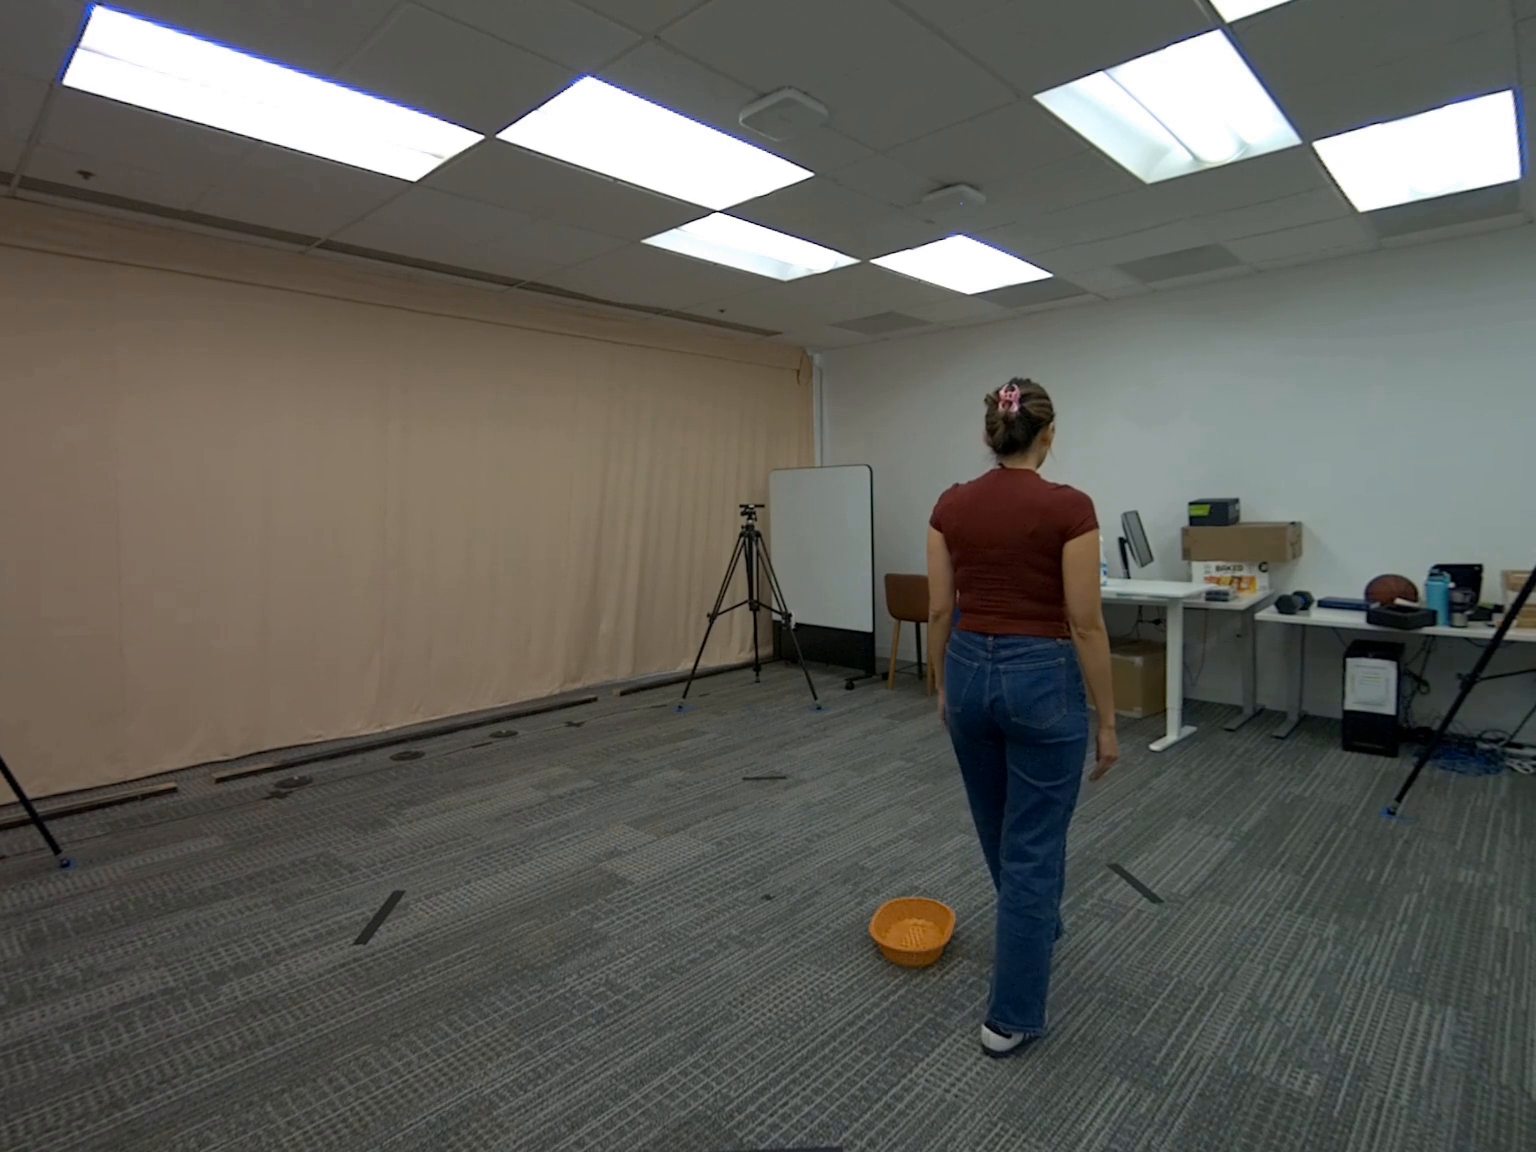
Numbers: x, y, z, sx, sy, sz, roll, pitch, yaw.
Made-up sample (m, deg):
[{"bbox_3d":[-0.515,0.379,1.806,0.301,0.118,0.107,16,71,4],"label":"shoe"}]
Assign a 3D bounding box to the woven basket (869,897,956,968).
[{"bbox_3d":[0.456,1.122,2.654,0.258,0.073,0.343,-1,5,24],"label":"woven basket"}]
